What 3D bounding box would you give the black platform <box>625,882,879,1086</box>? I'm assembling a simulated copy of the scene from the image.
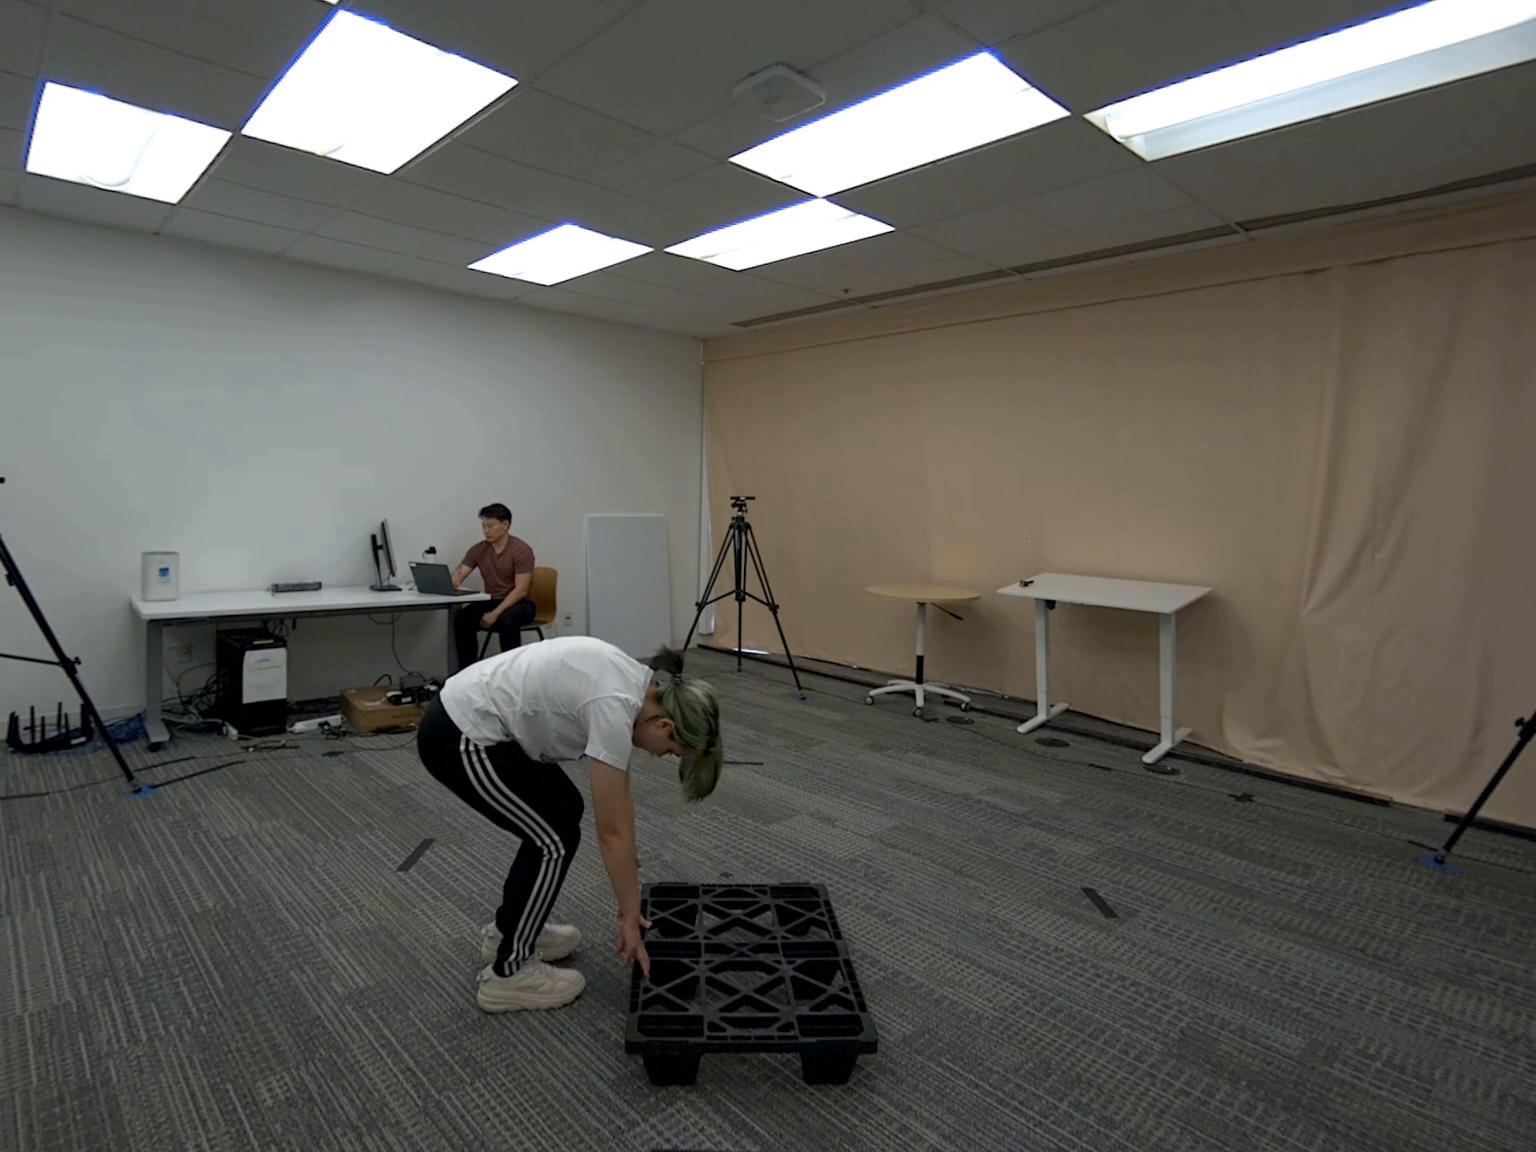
[{"bbox_3d":[-0.086,1.107,2.352,0.603,0.143,0.811,0,6,-5],"label":"black platform"}]
